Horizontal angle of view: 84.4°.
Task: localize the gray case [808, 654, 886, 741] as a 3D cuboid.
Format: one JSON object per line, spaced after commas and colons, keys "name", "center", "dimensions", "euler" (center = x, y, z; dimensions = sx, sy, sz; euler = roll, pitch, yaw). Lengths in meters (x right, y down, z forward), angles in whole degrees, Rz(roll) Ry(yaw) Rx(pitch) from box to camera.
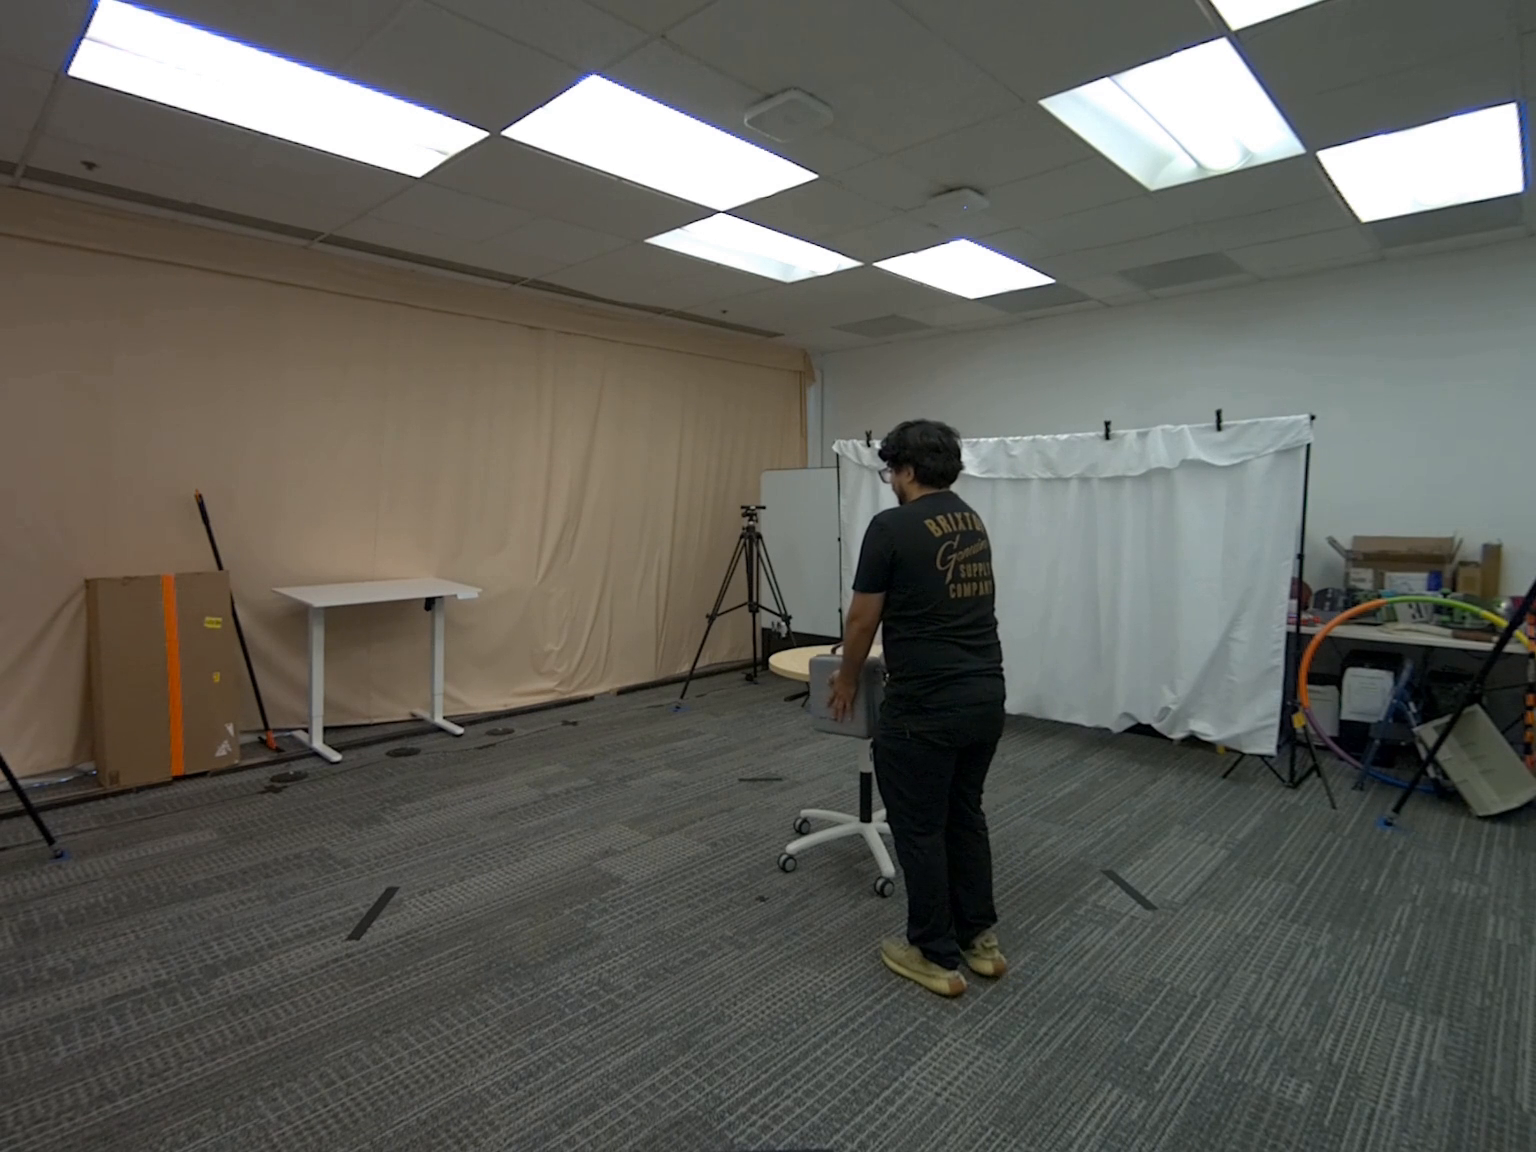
{"name": "gray case", "center": [0.254, 0.380, 2.713], "dimensions": [0.101, 0.261, 0.264], "euler": [-2, -1, -39]}
